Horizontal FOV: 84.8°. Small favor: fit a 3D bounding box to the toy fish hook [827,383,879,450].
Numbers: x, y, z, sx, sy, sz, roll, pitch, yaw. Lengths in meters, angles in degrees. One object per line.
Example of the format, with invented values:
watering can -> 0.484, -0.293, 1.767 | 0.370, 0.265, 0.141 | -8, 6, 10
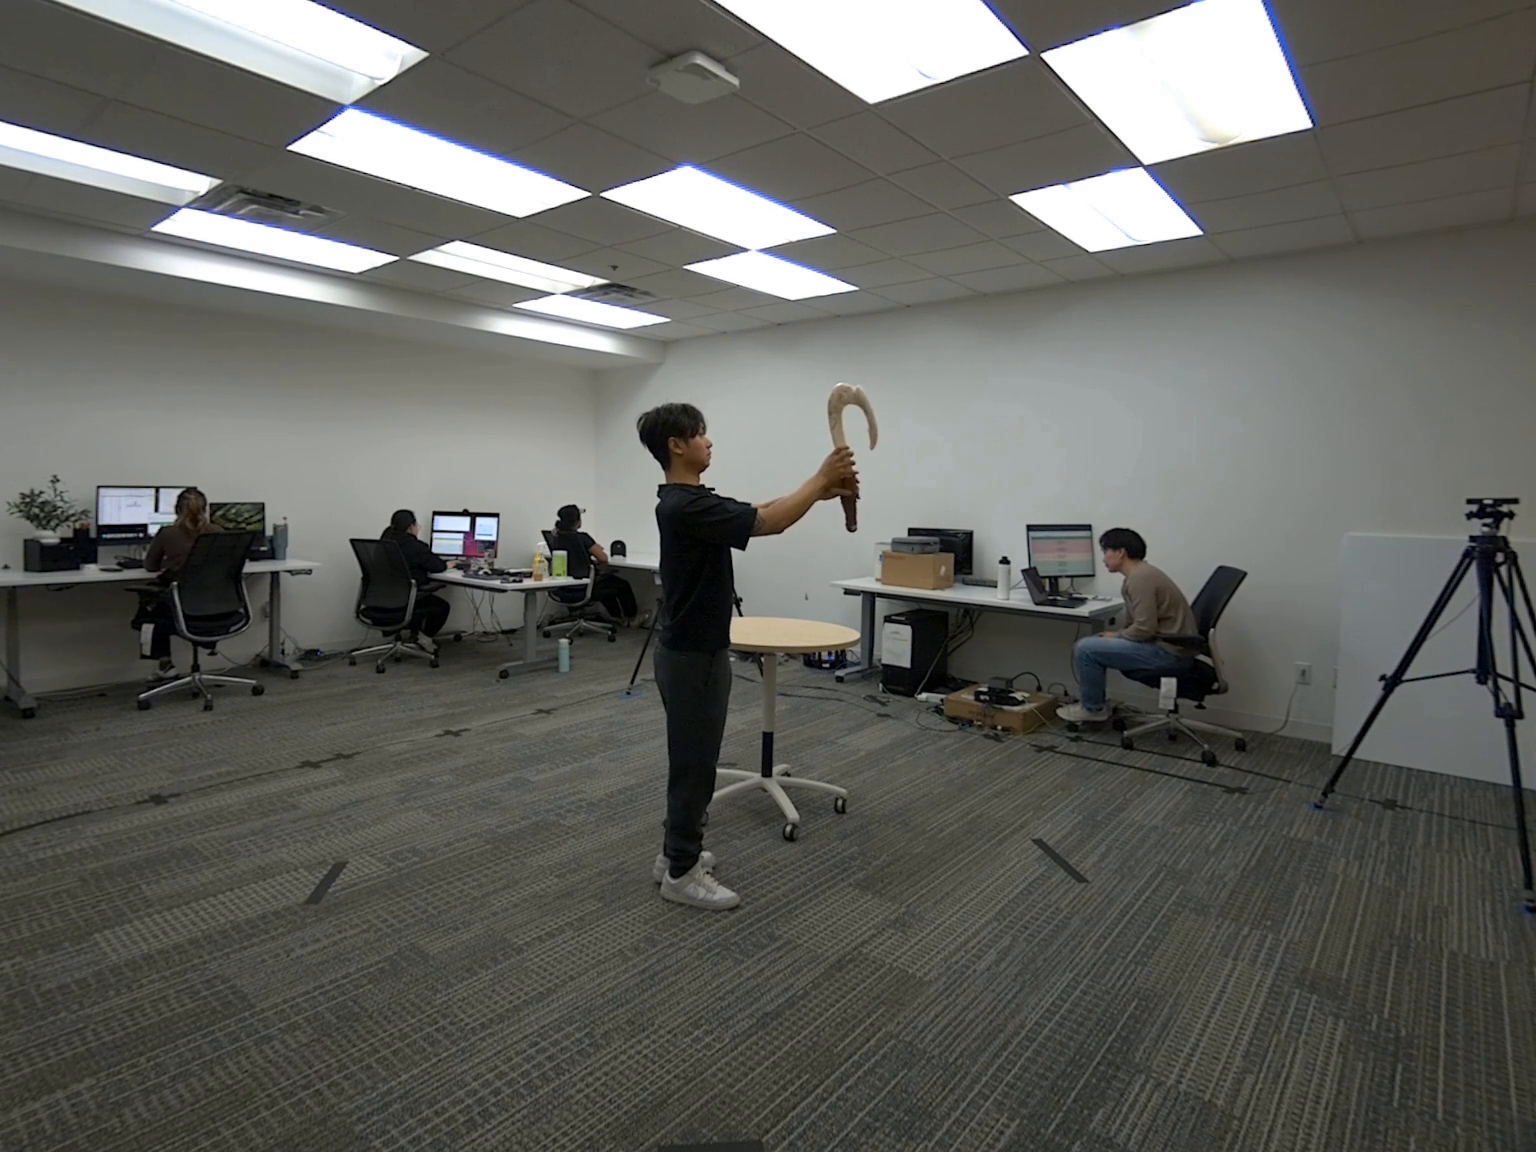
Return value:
toy fish hook -> 0.274, -0.361, 2.702 | 0.047, 0.495, 0.233 | -18, 23, -24
